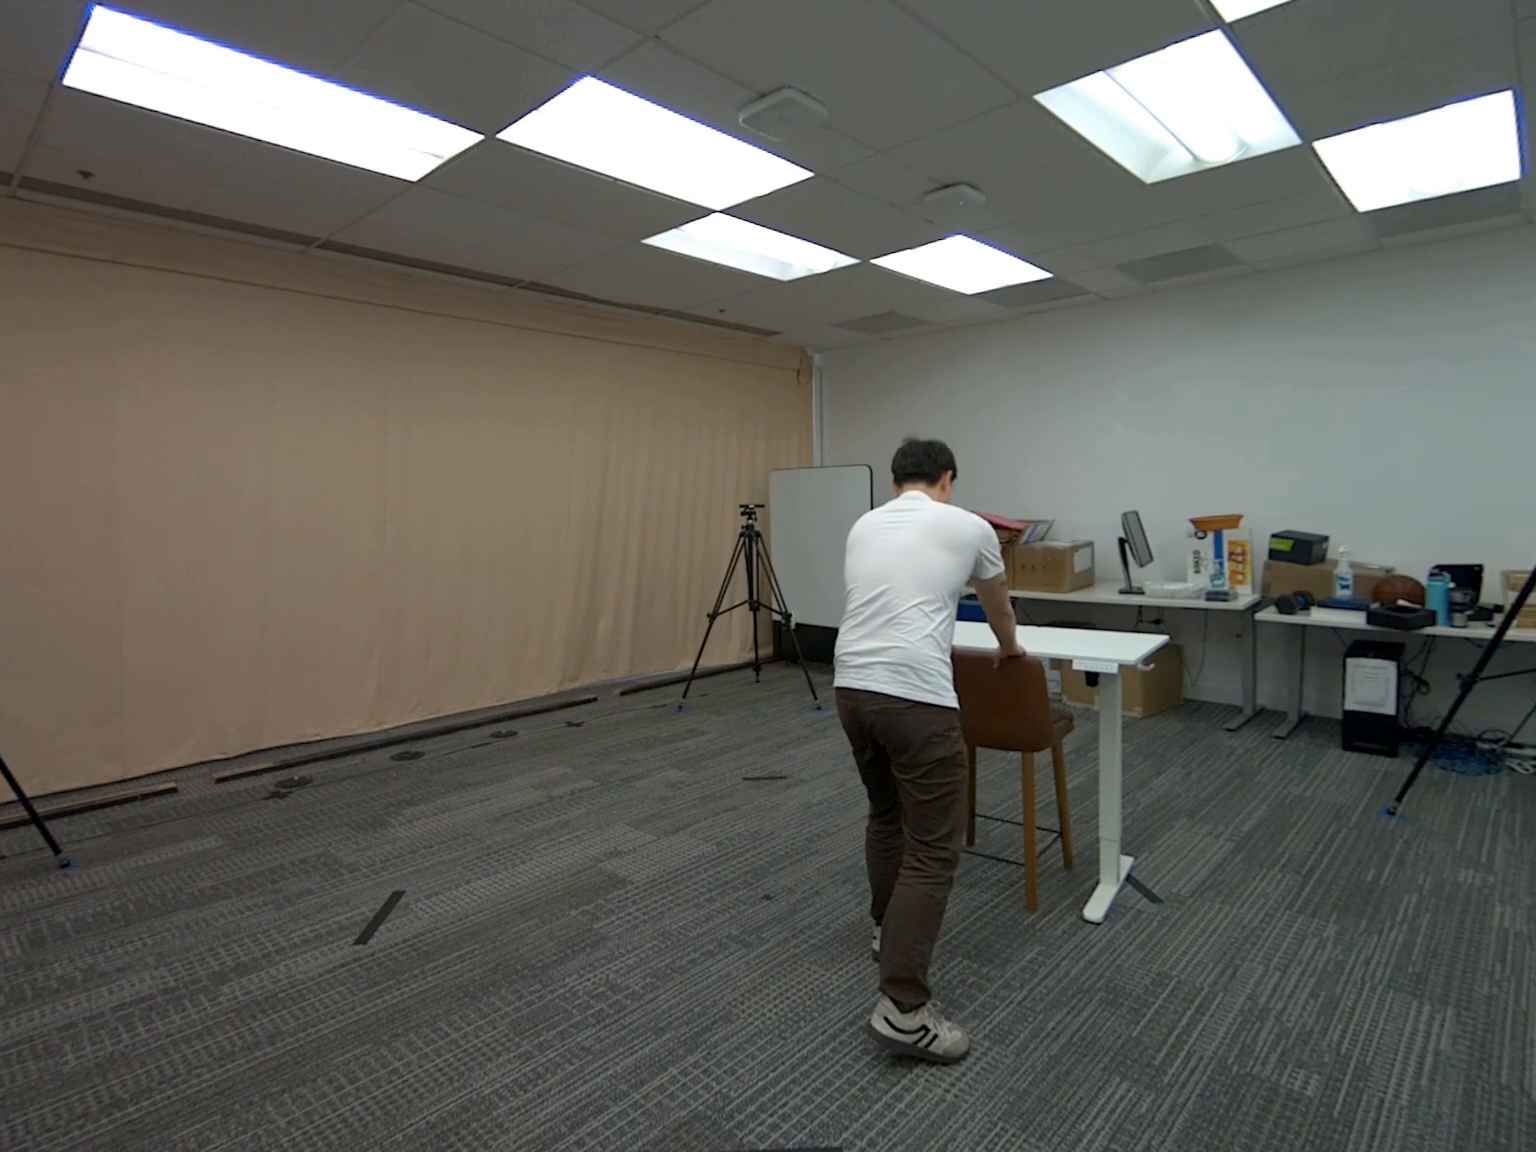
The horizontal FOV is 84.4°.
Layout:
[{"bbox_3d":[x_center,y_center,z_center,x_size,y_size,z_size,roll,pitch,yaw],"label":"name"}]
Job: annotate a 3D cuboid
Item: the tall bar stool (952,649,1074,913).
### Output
[{"bbox_3d":[0.852,0.679,3.089,0.471,0.887,0.454,1,6,36],"label":"tall bar stool"}]
